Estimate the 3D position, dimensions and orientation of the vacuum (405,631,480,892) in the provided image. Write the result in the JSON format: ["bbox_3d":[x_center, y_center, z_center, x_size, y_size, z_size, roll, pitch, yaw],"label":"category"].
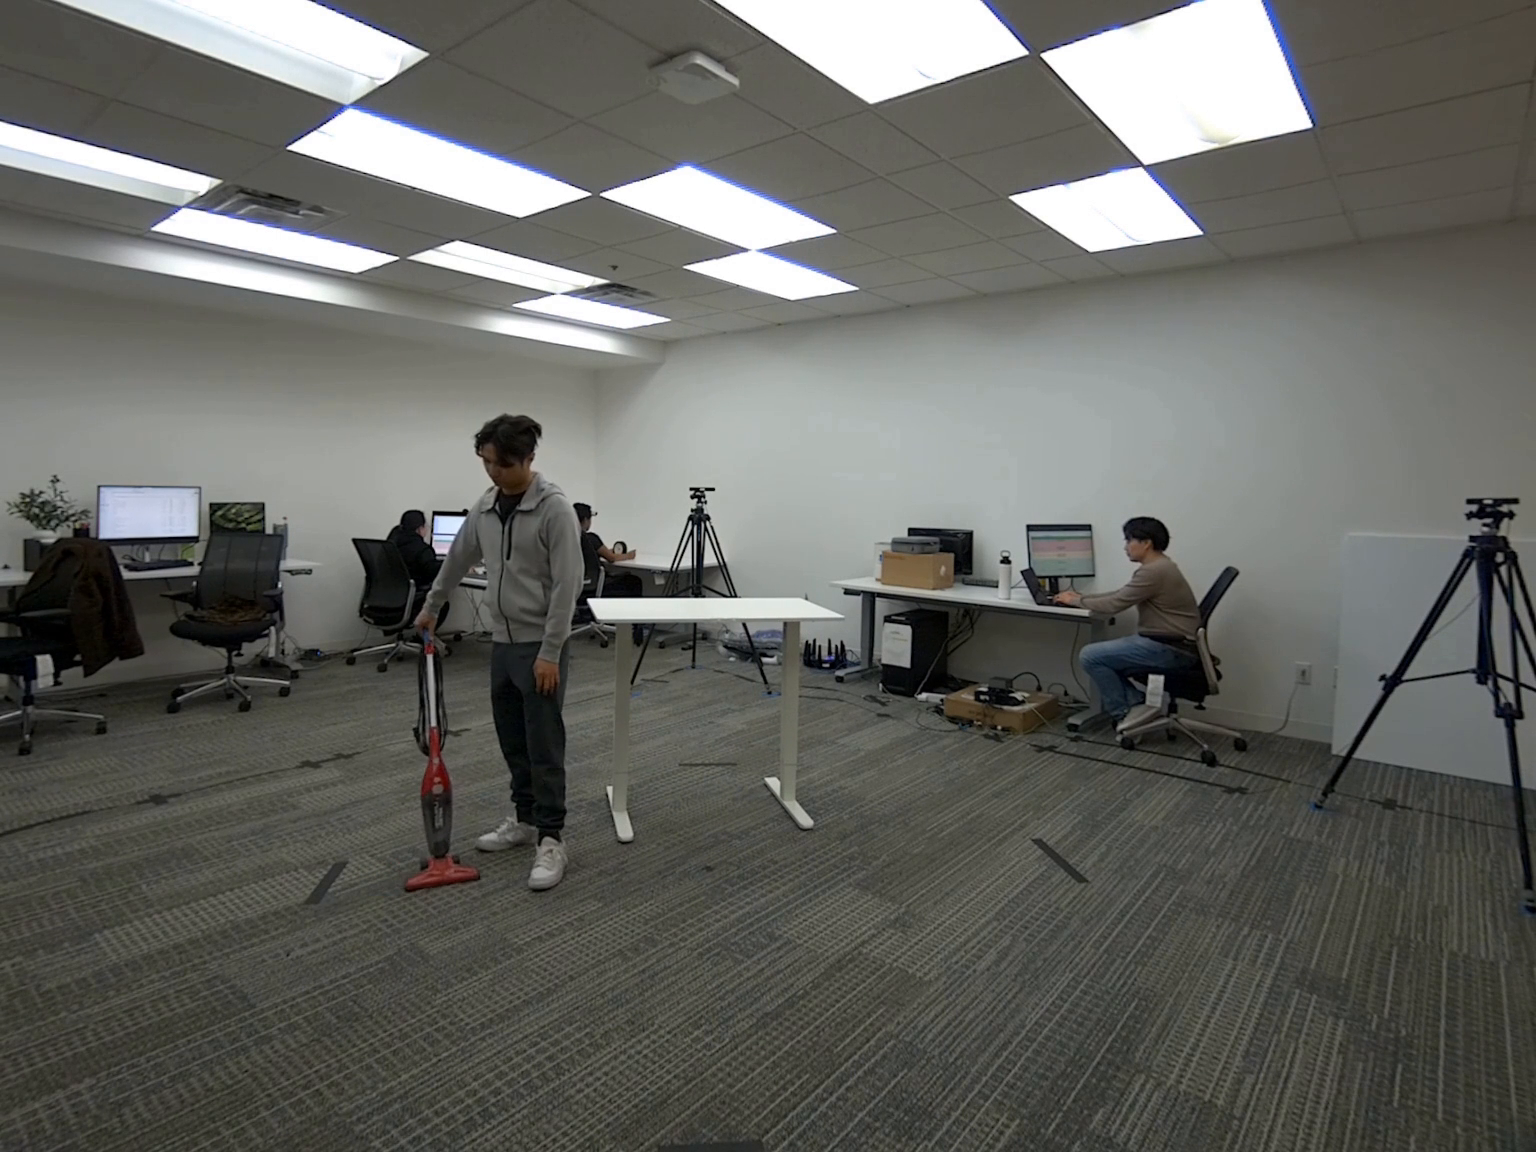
[{"bbox_3d":[-1.287,0.600,3.243,0.245,1.082,0.144,2,-33,-30],"label":"vacuum"}]
